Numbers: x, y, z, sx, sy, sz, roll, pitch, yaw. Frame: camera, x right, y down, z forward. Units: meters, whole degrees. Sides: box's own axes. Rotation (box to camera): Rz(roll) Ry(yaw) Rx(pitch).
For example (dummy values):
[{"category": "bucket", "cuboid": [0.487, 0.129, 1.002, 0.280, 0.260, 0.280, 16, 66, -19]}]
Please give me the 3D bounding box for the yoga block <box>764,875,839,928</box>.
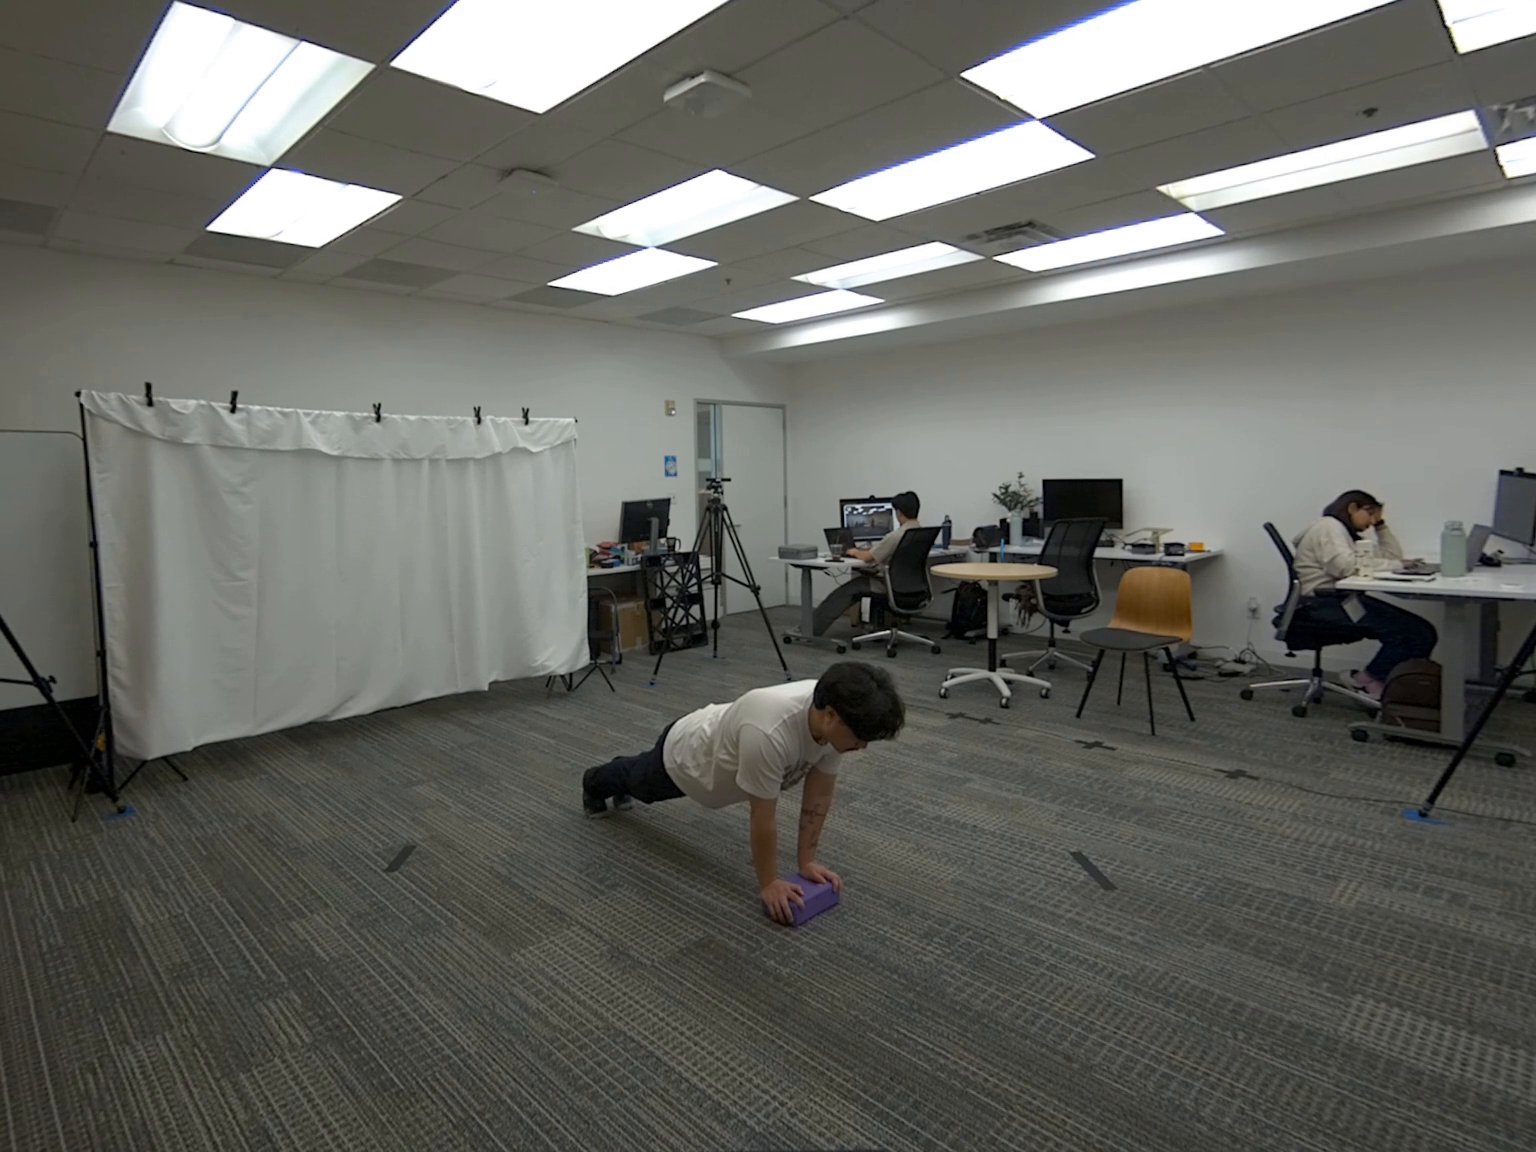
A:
[{"category": "yoga block", "cuboid": [0.112, 1.043, 2.777, 0.154, 0.076, 0.223, 7, 10, 43]}]
